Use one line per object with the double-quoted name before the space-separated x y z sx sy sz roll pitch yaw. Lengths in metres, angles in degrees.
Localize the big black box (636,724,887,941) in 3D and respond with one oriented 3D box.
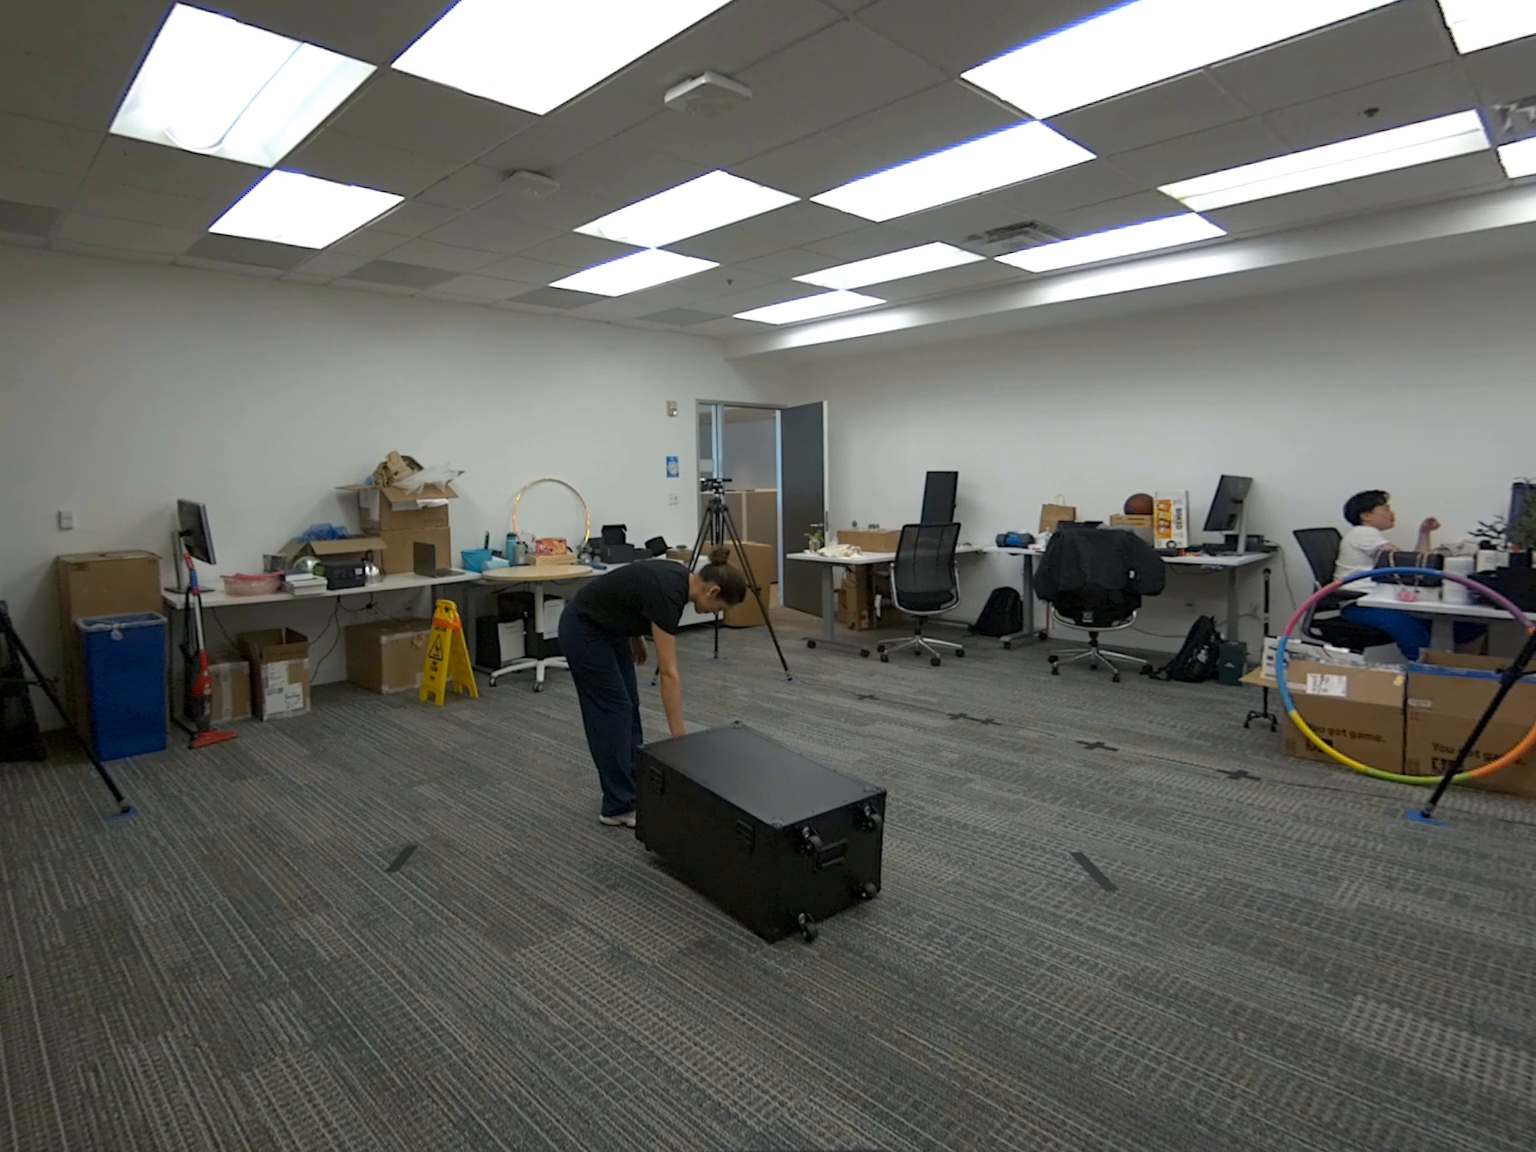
"big black box" -0.068 0.841 3.015 0.508 0.393 0.890 -5 11 -39
